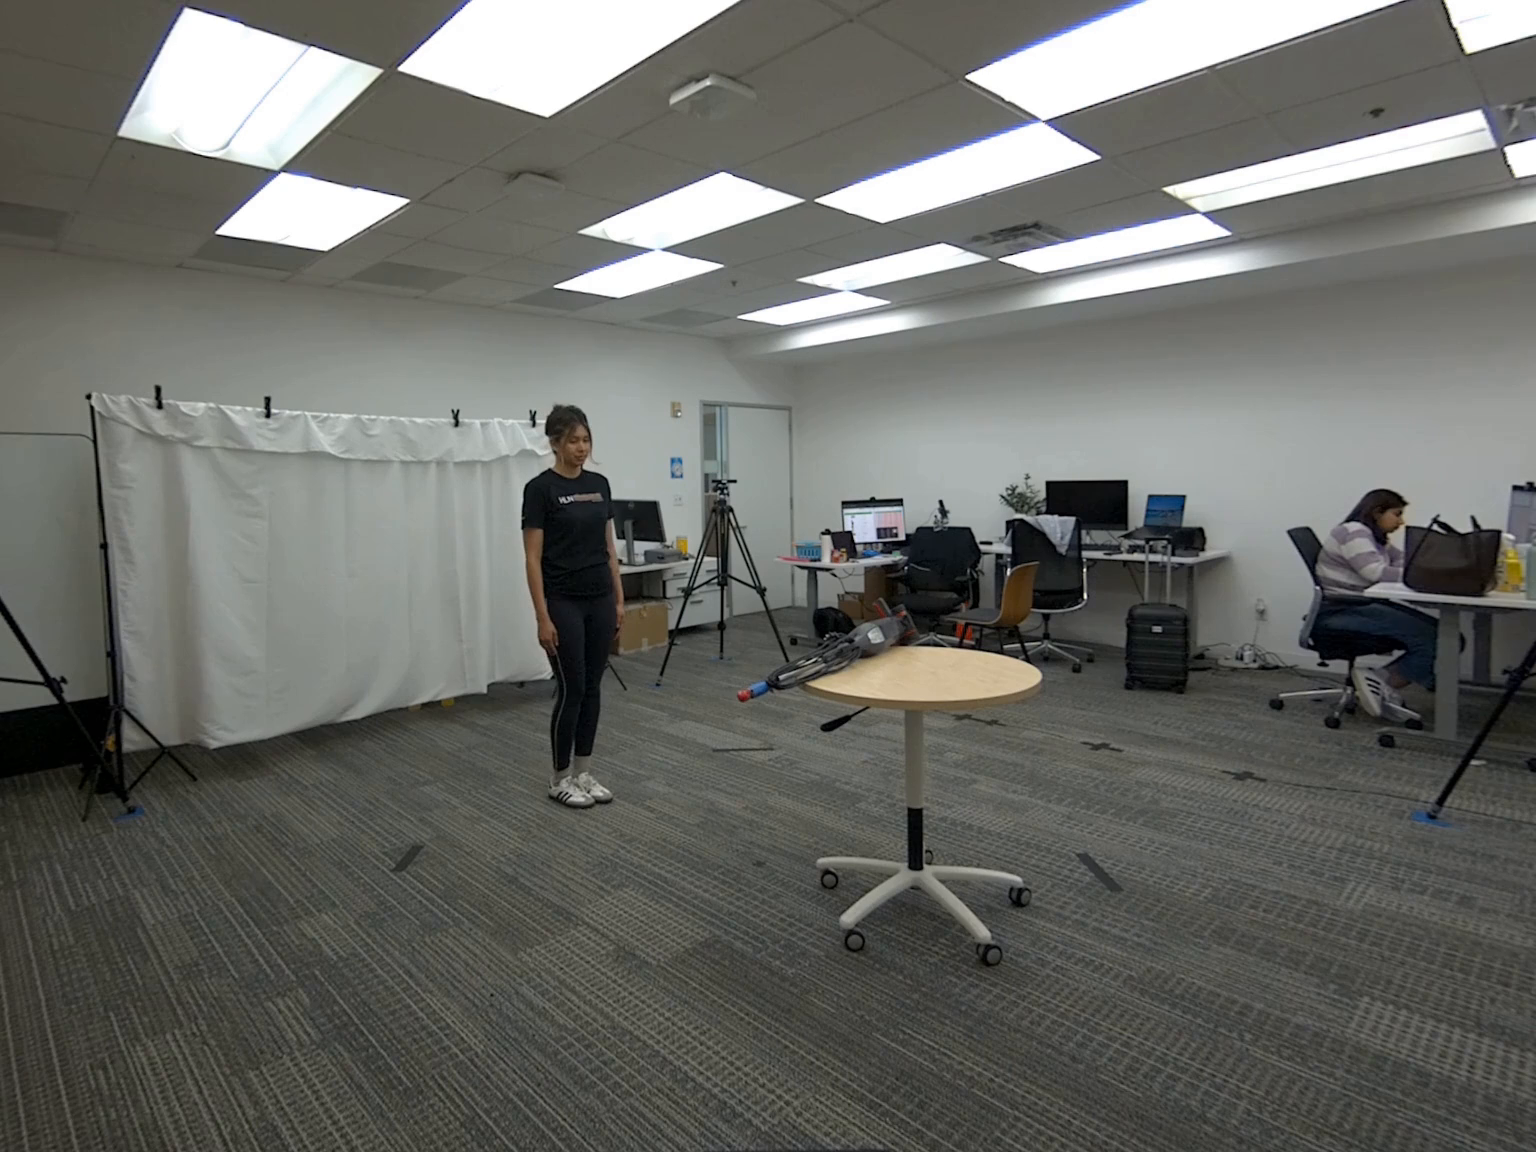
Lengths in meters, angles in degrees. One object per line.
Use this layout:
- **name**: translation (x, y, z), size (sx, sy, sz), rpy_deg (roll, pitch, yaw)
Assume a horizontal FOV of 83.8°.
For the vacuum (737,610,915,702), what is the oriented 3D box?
- **vacuum**: translation (0.212, 0.267, 2.779), size (0.145, 0.256, 1.026), rpy_deg (-36, -13, 32)
